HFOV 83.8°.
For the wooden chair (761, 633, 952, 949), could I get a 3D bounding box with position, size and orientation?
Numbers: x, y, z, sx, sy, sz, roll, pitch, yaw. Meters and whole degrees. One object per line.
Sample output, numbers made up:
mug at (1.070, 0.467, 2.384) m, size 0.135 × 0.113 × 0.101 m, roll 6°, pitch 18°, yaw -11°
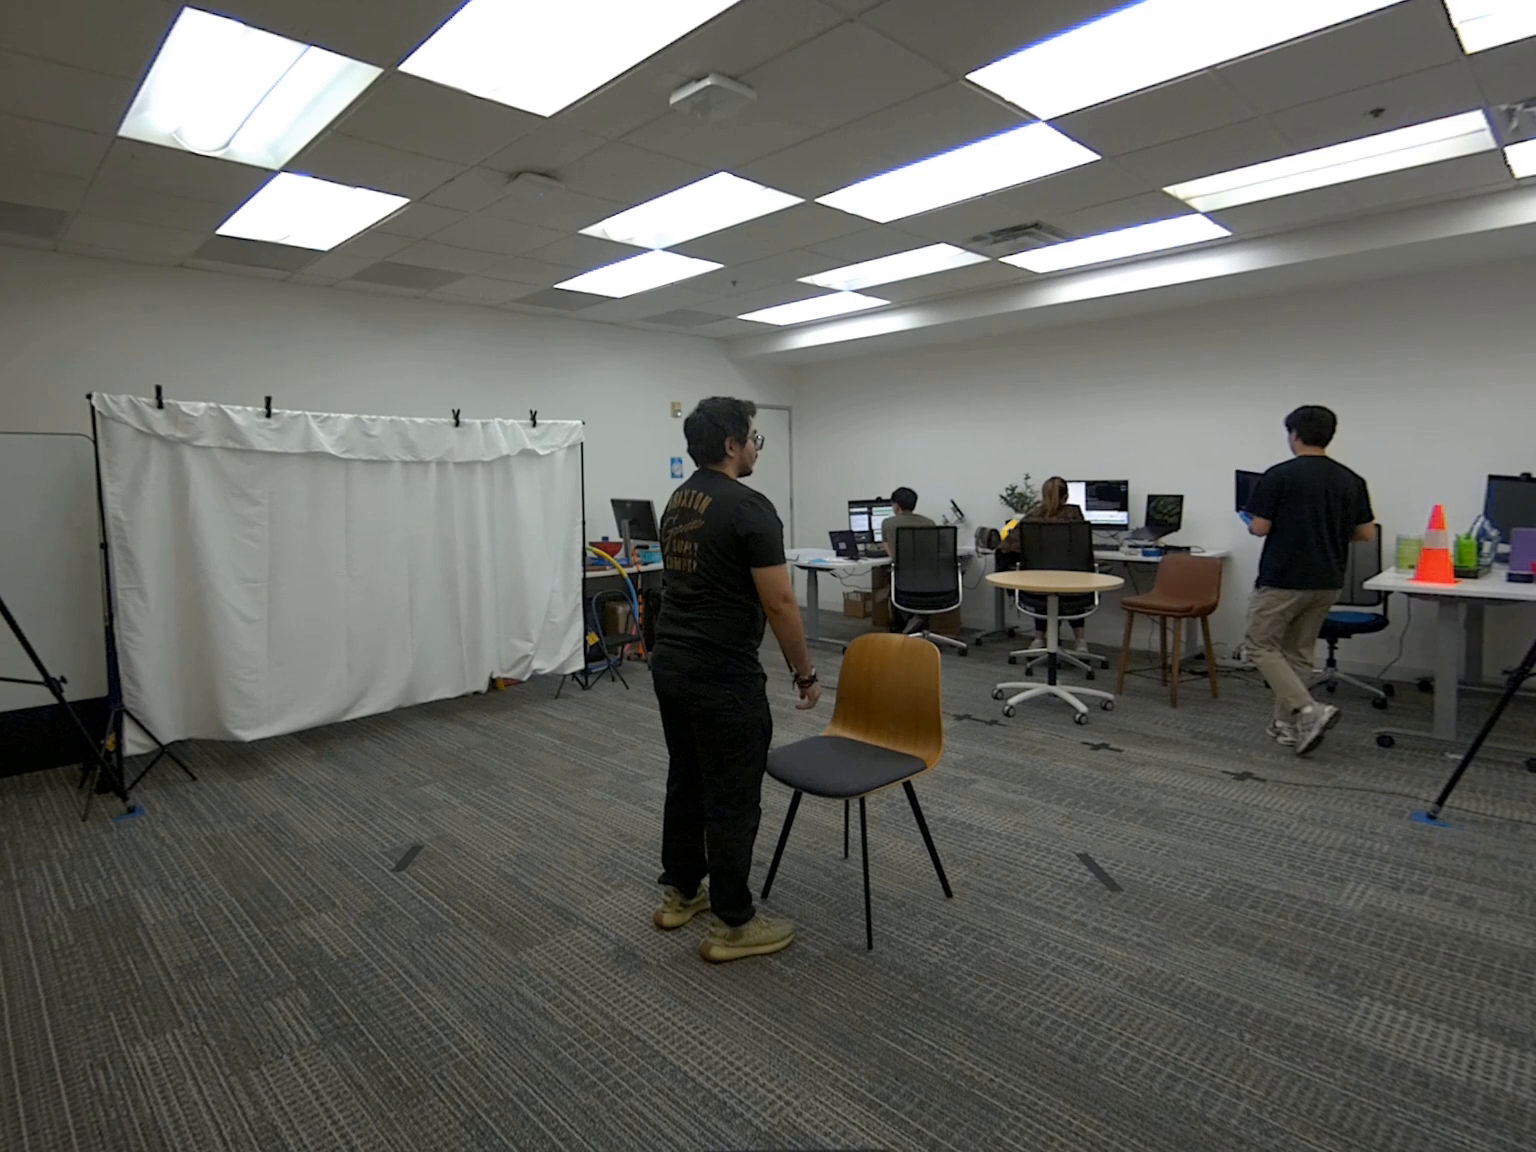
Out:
wooden chair at (0.284, 0.647, 2.807) m, size 0.508 × 0.877 × 0.493 m, roll 1°, pitch 2°, yaw -44°
